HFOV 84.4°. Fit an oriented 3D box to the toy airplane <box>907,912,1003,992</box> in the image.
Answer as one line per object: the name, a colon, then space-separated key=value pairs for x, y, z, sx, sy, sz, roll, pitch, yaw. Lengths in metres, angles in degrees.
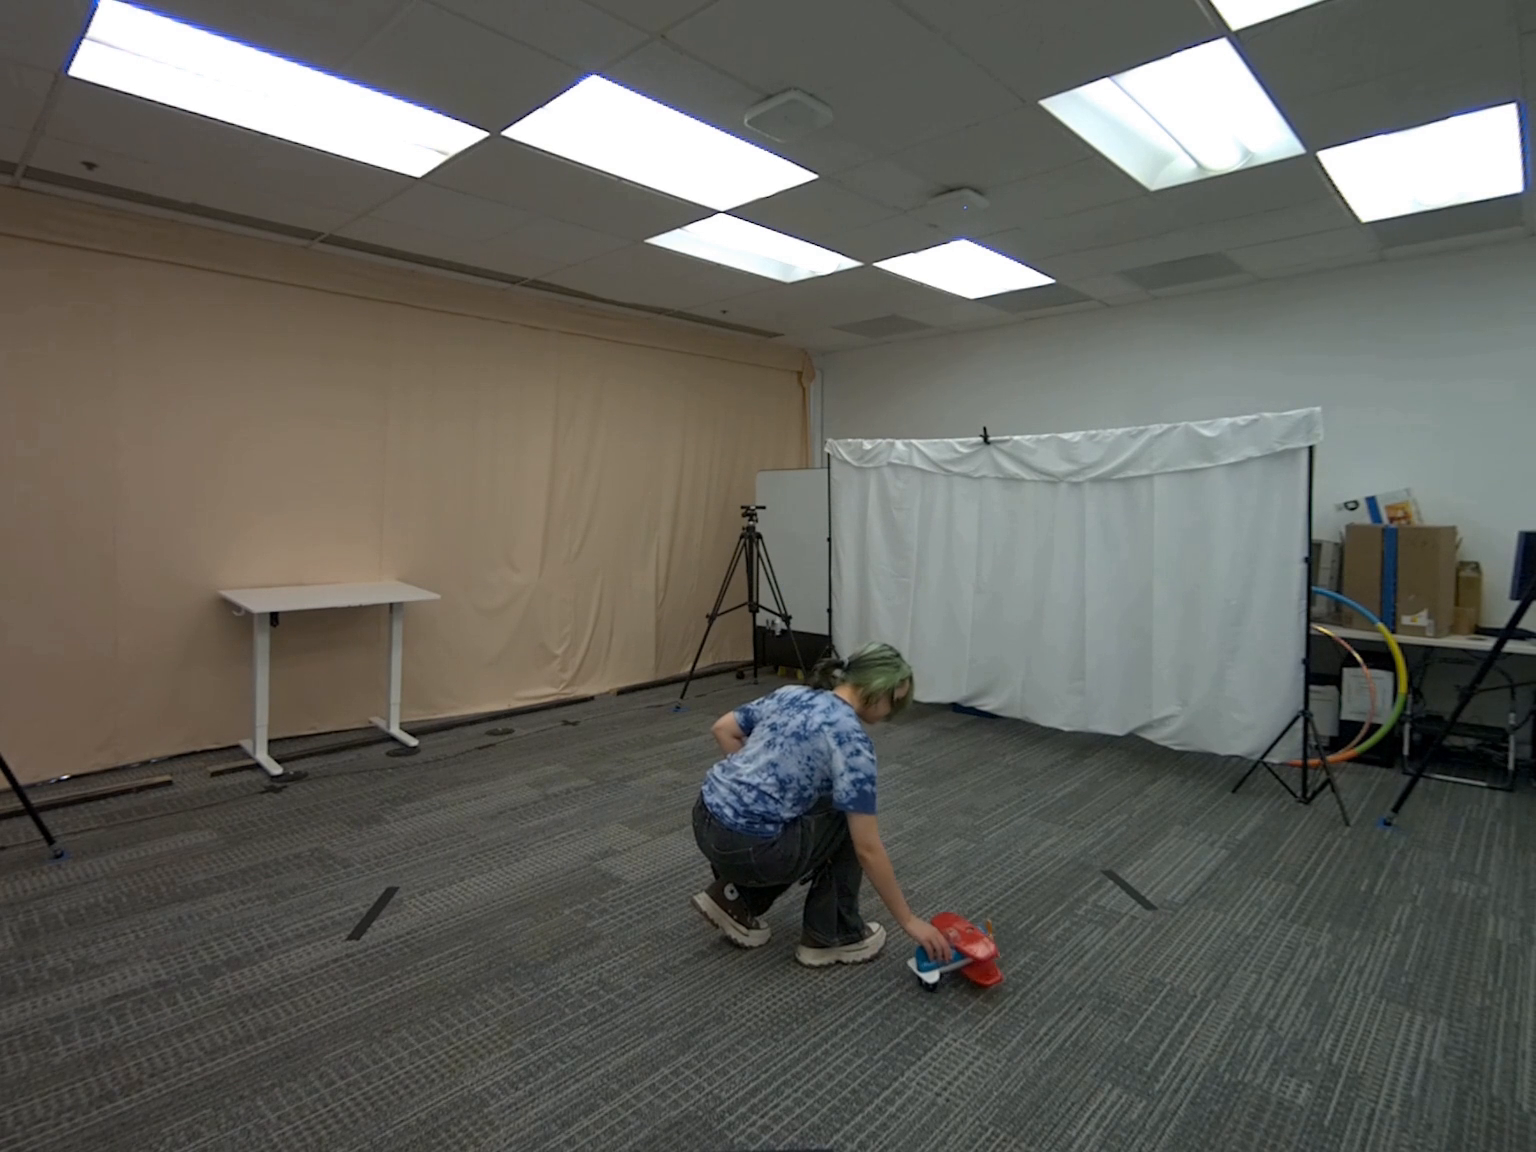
toy airplane: x=0.557 y=1.119 z=2.436 sx=0.259 sy=0.156 sz=0.251 roll=4 pitch=6 yaw=40
